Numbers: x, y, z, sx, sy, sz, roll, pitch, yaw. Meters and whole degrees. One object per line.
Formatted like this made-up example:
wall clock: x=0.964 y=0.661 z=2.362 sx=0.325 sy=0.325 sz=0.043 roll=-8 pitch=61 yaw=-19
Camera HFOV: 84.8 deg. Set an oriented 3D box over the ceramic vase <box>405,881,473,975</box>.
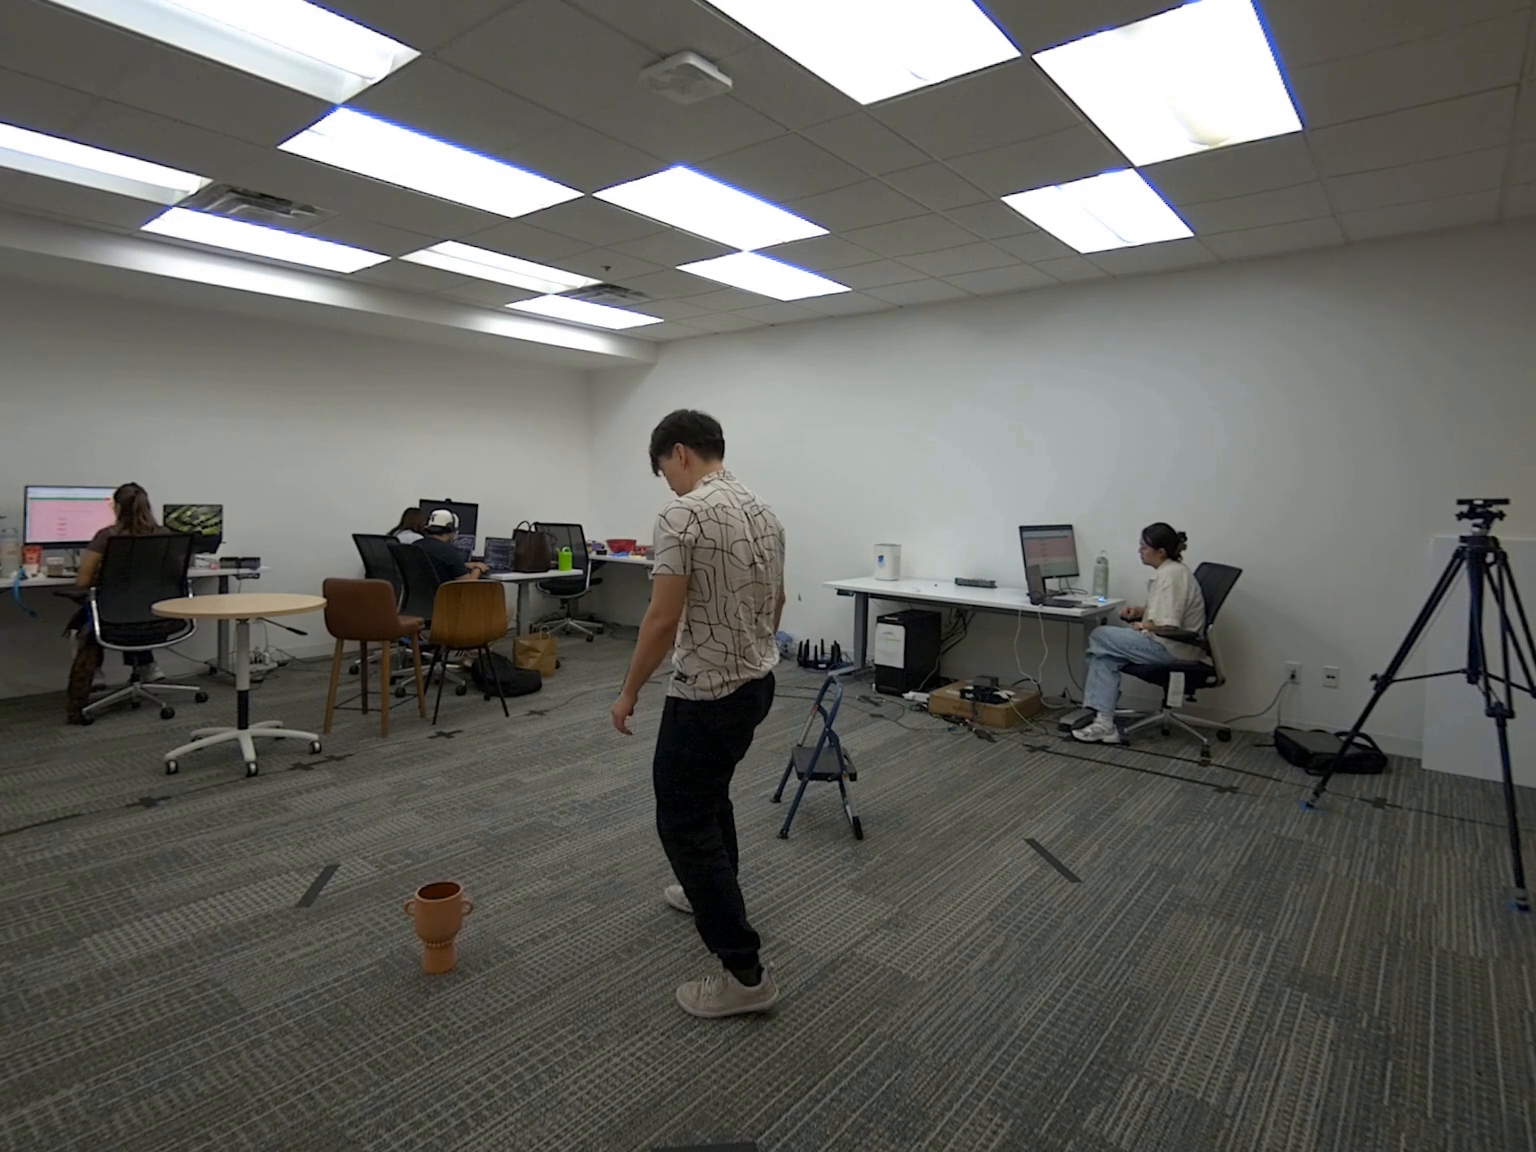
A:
ceramic vase: x=-0.961 y=1.014 z=2.459 sx=0.164 sy=0.219 sz=0.131 roll=3 pitch=4 yaw=33
